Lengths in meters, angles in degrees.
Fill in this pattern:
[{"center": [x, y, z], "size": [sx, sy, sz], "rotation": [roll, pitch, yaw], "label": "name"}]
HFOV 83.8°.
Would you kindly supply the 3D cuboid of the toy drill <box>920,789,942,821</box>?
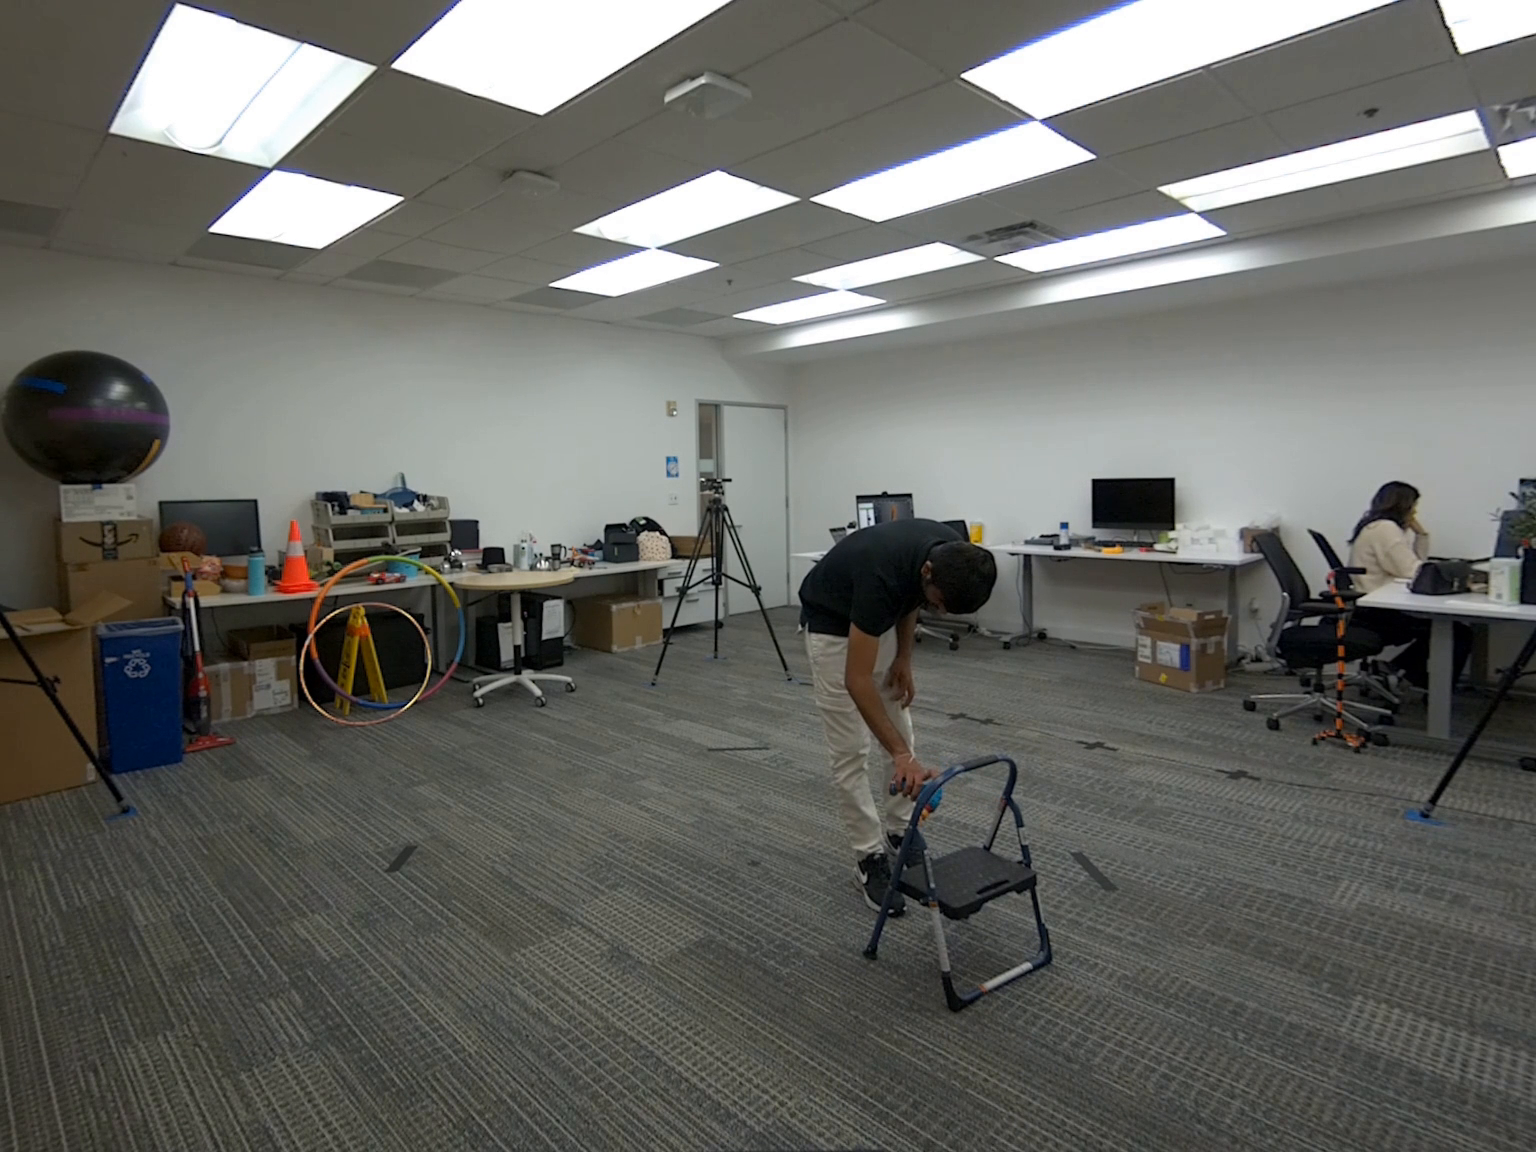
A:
[{"center": [0.415, 0.636, 2.424], "size": [0.150, 0.059, 0.170], "rotation": [3, 32, 29], "label": "toy drill"}]
